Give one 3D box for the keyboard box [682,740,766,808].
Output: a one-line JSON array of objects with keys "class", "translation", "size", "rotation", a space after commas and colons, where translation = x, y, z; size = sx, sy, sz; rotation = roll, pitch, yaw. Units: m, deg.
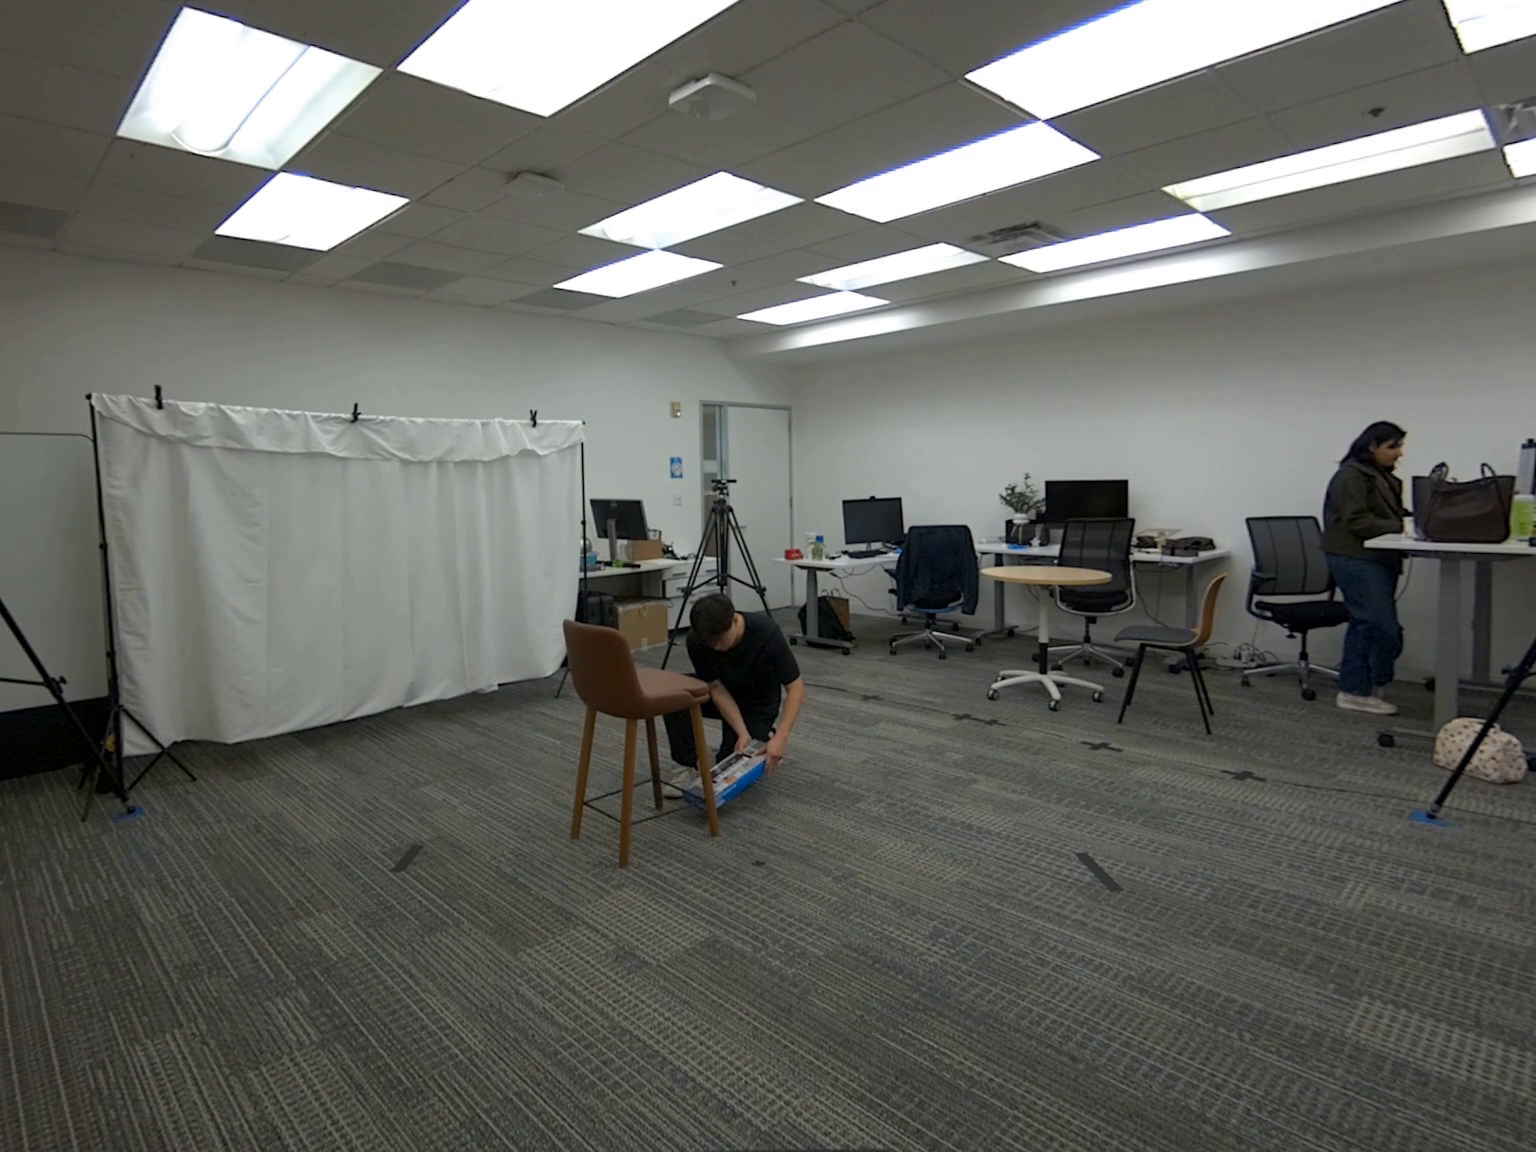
[{"class": "keyboard box", "translation": [-0.160, 0.857, 3.648], "size": [0.431, 0.058, 0.181], "rotation": [-27, 23, -37]}]
